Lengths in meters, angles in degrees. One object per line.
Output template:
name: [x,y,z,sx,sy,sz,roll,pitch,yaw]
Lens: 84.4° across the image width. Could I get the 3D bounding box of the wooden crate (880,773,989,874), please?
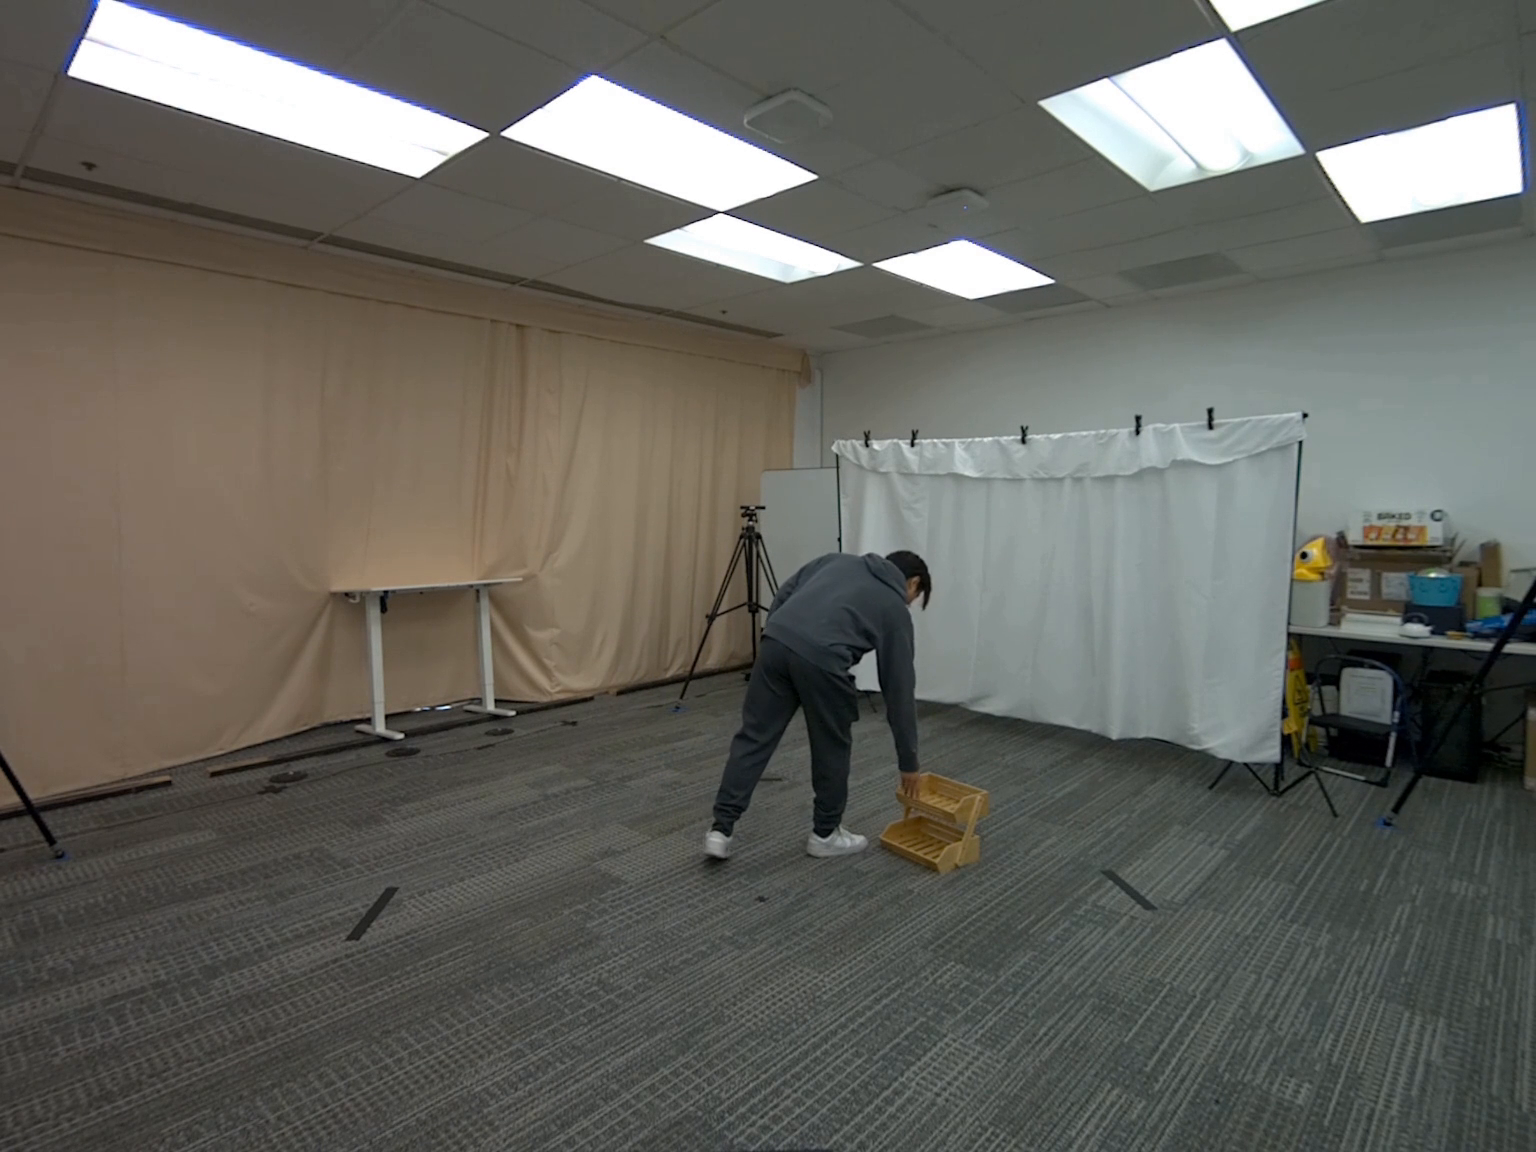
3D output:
wooden crate: [0.664,0.974,3.374,0.293,0.273,0.335,-2,4,-37]
